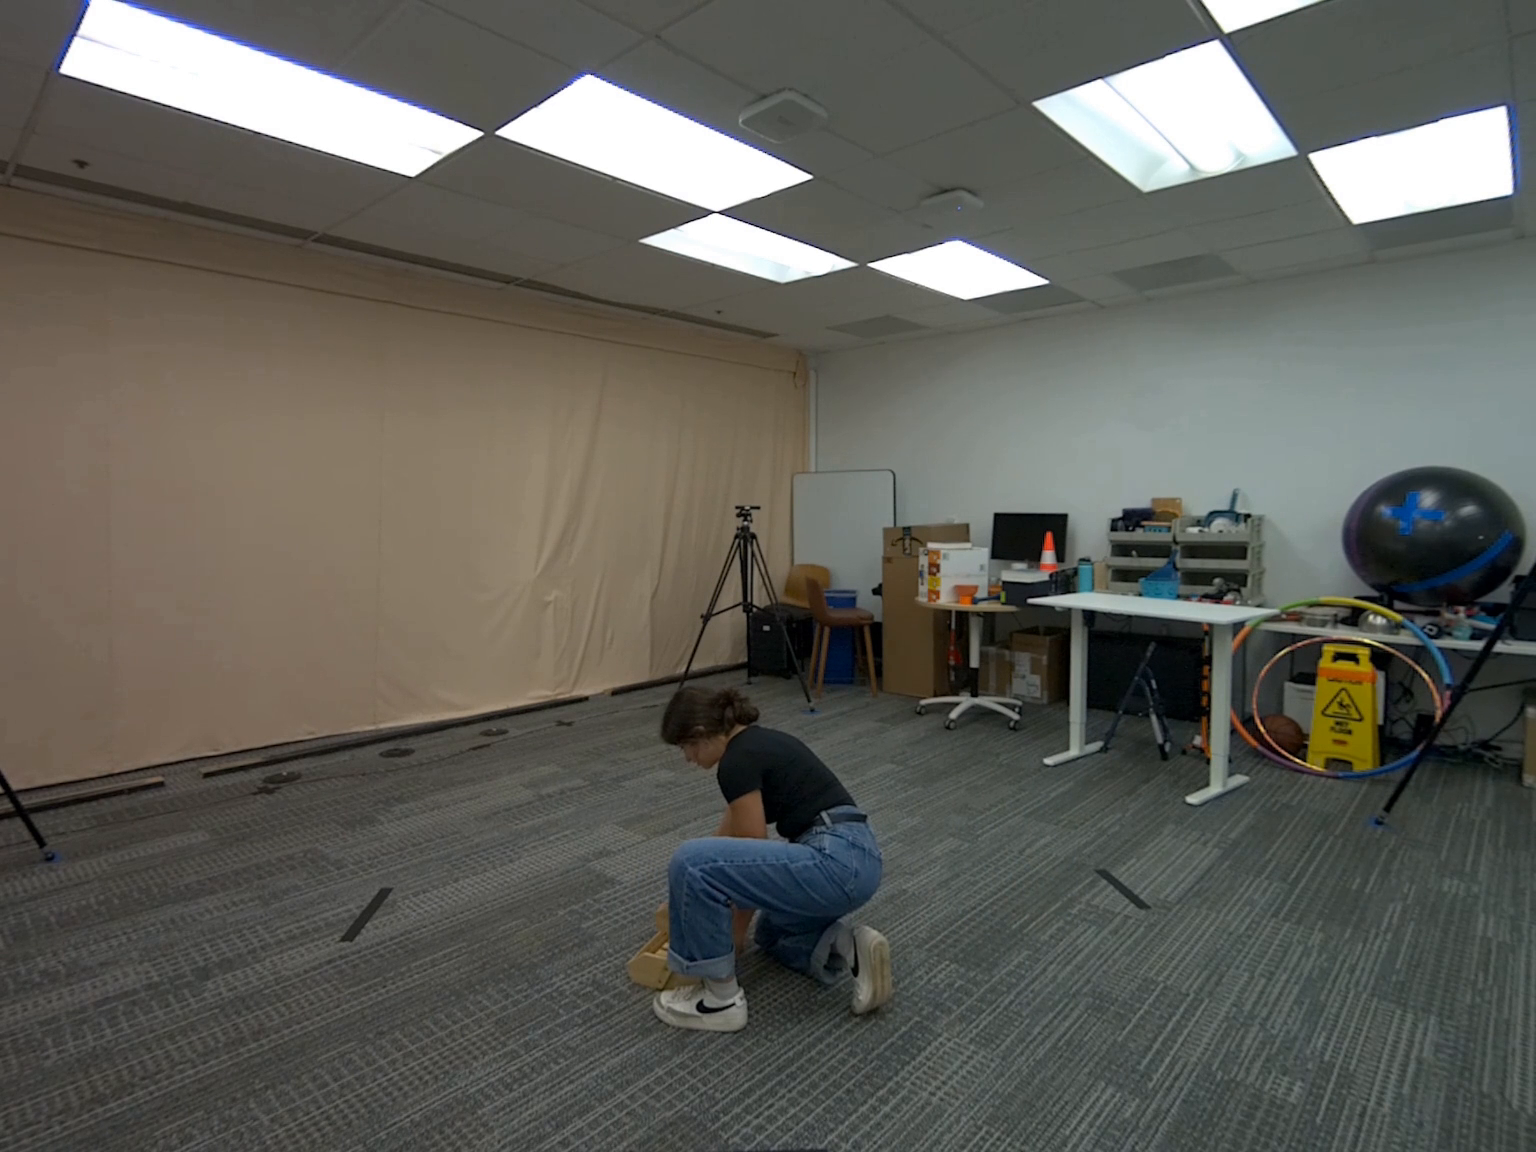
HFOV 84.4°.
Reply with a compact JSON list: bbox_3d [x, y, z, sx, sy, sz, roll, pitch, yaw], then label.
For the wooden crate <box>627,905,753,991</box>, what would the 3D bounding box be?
[{"bbox_3d":[-0.223,1.052,2.544,0.309,0.272,0.317,3,5,22],"label":"wooden crate"}]
